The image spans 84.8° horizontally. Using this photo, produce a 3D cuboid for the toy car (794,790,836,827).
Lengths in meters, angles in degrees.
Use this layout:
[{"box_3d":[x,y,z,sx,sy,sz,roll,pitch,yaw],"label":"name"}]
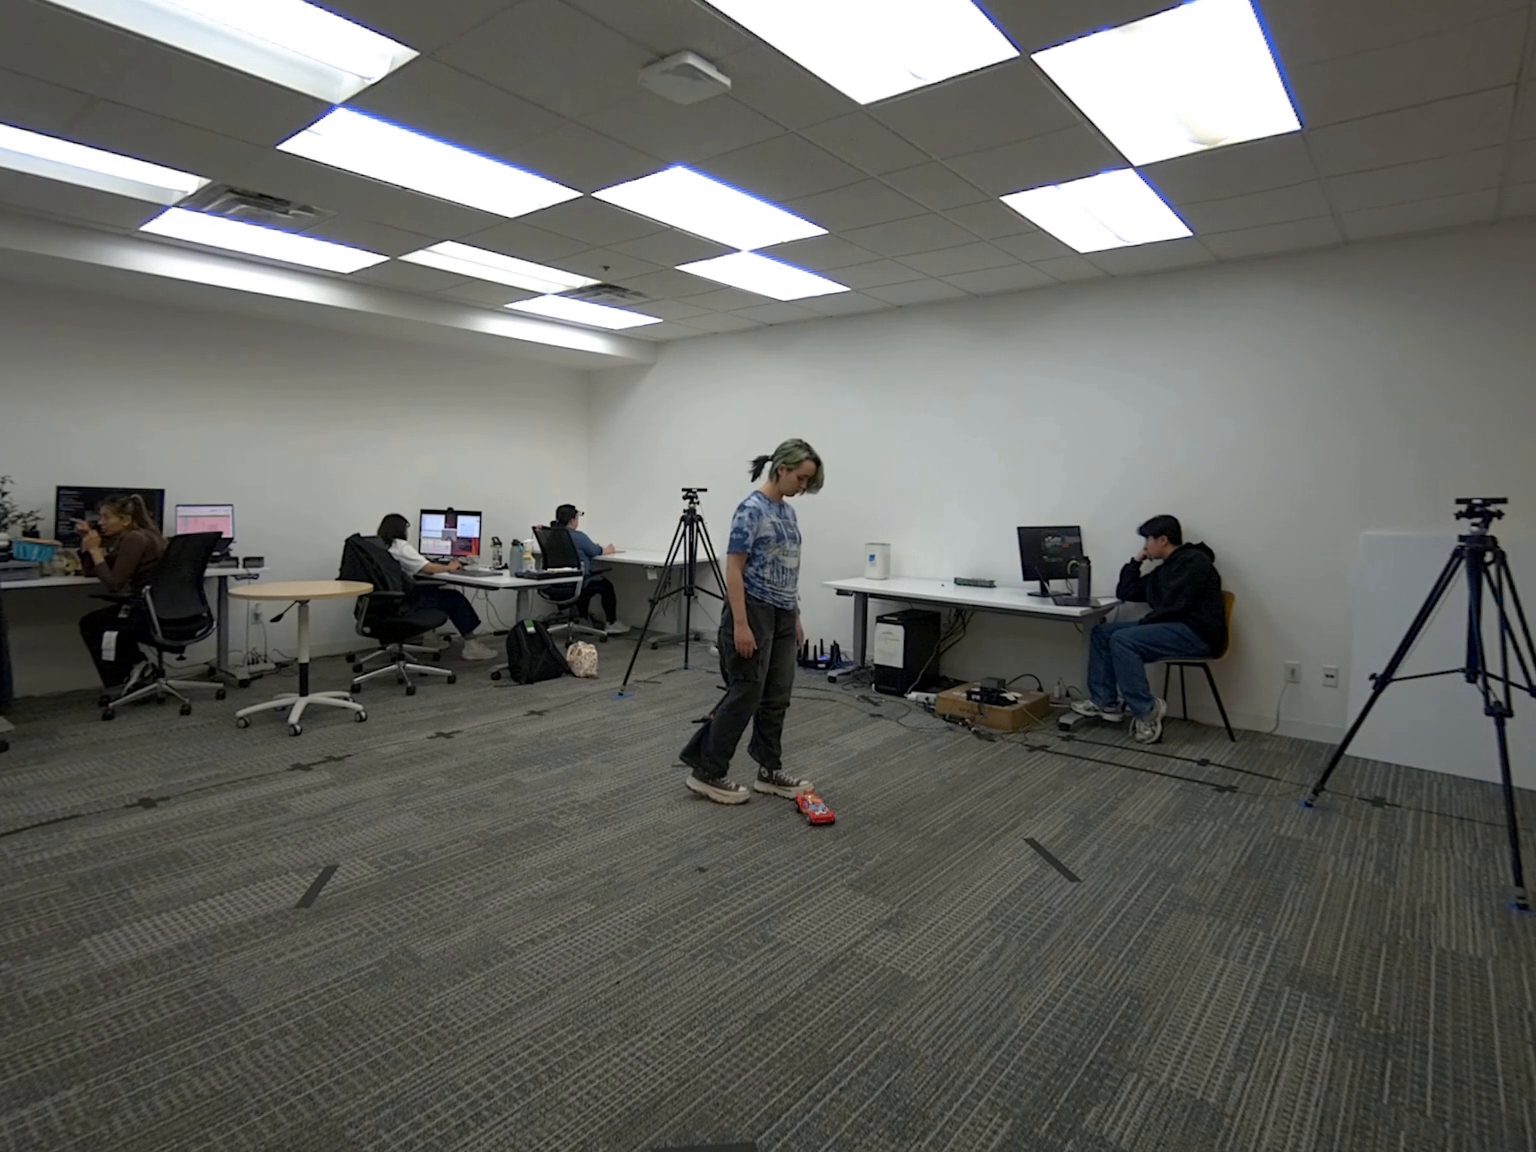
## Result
[{"box_3d":[0.187,0.993,3.649,0.128,0.082,0.262,-1,16,-16],"label":"toy car"}]
